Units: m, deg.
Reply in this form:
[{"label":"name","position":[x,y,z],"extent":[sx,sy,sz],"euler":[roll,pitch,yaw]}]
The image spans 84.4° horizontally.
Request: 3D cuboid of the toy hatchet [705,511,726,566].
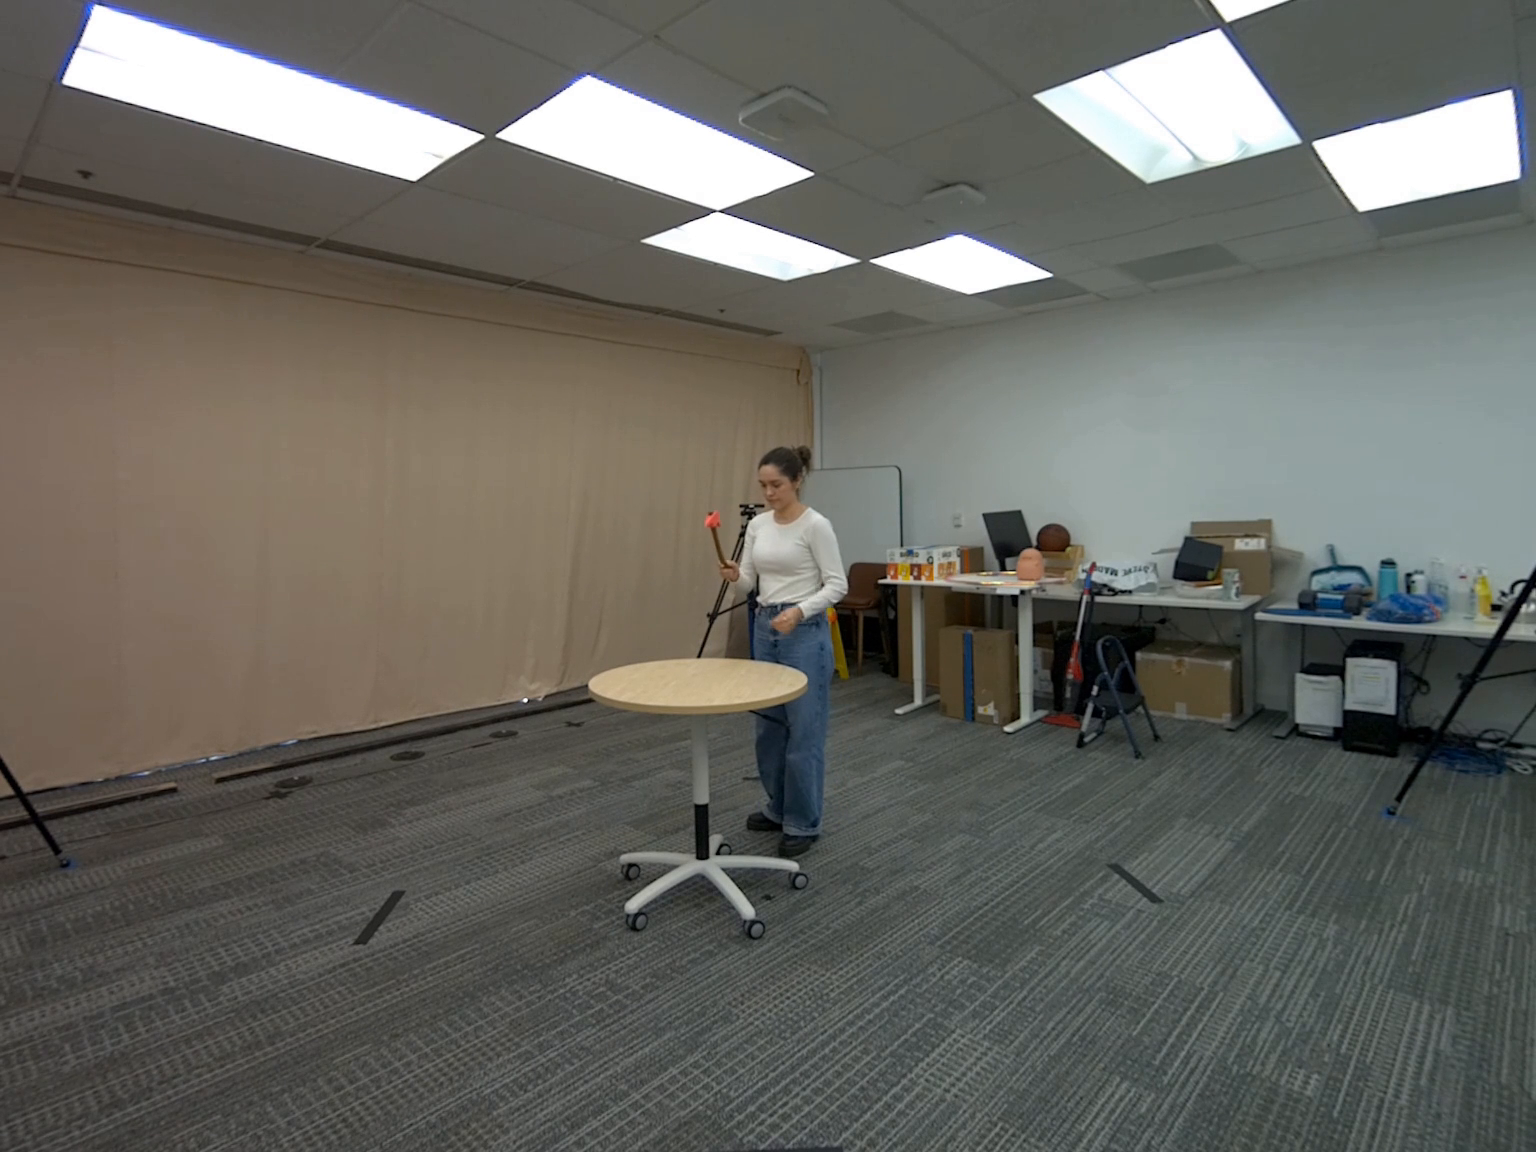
[{"label":"toy hatchet","position":[-0.184,-0.127,3.229],"extent":[0.030,0.263,0.132],"euler":[-3,43,16]}]
